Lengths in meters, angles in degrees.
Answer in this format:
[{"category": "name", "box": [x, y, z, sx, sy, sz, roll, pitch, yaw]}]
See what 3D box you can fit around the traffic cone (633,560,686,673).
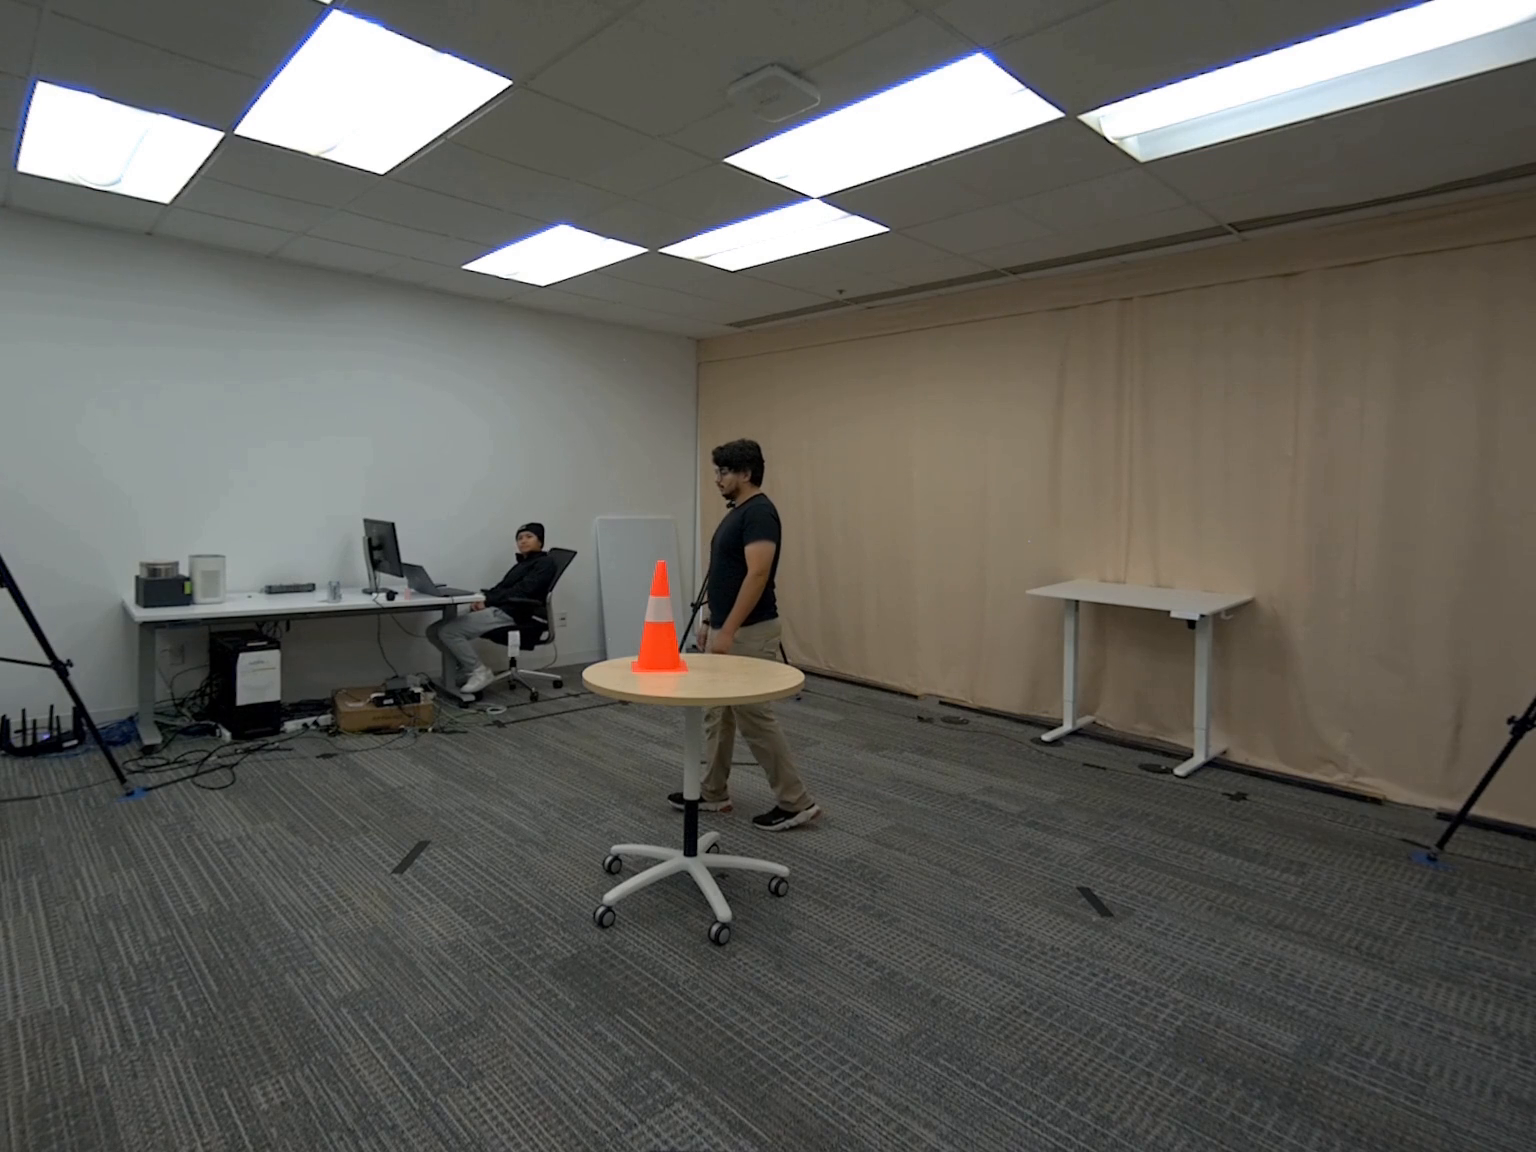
[{"category": "traffic cone", "box": [-0.391, 0.140, 3.007, 0.203, 0.383, 0.206, 1, 2, -14]}]
